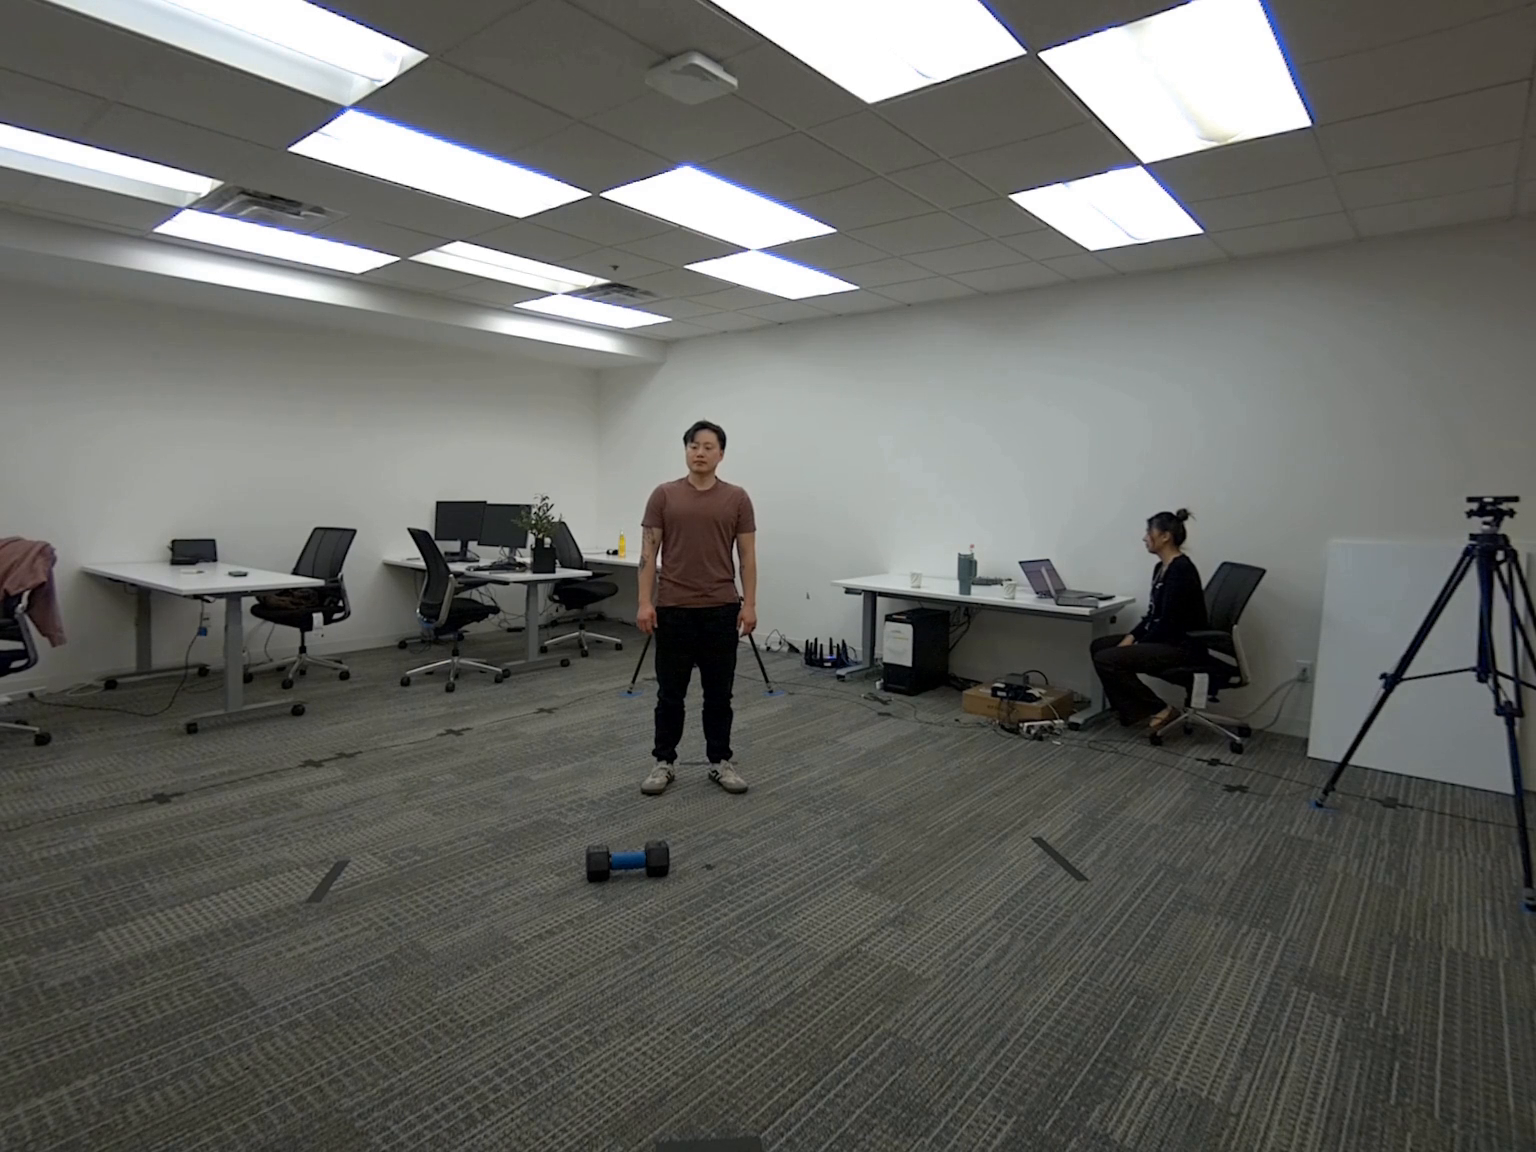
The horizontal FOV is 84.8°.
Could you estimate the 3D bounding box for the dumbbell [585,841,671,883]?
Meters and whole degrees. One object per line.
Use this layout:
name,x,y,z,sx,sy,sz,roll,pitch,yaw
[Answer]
dumbbell,-0.512,1.016,3.034,0.290,0.126,0.107,0,-26,-12
